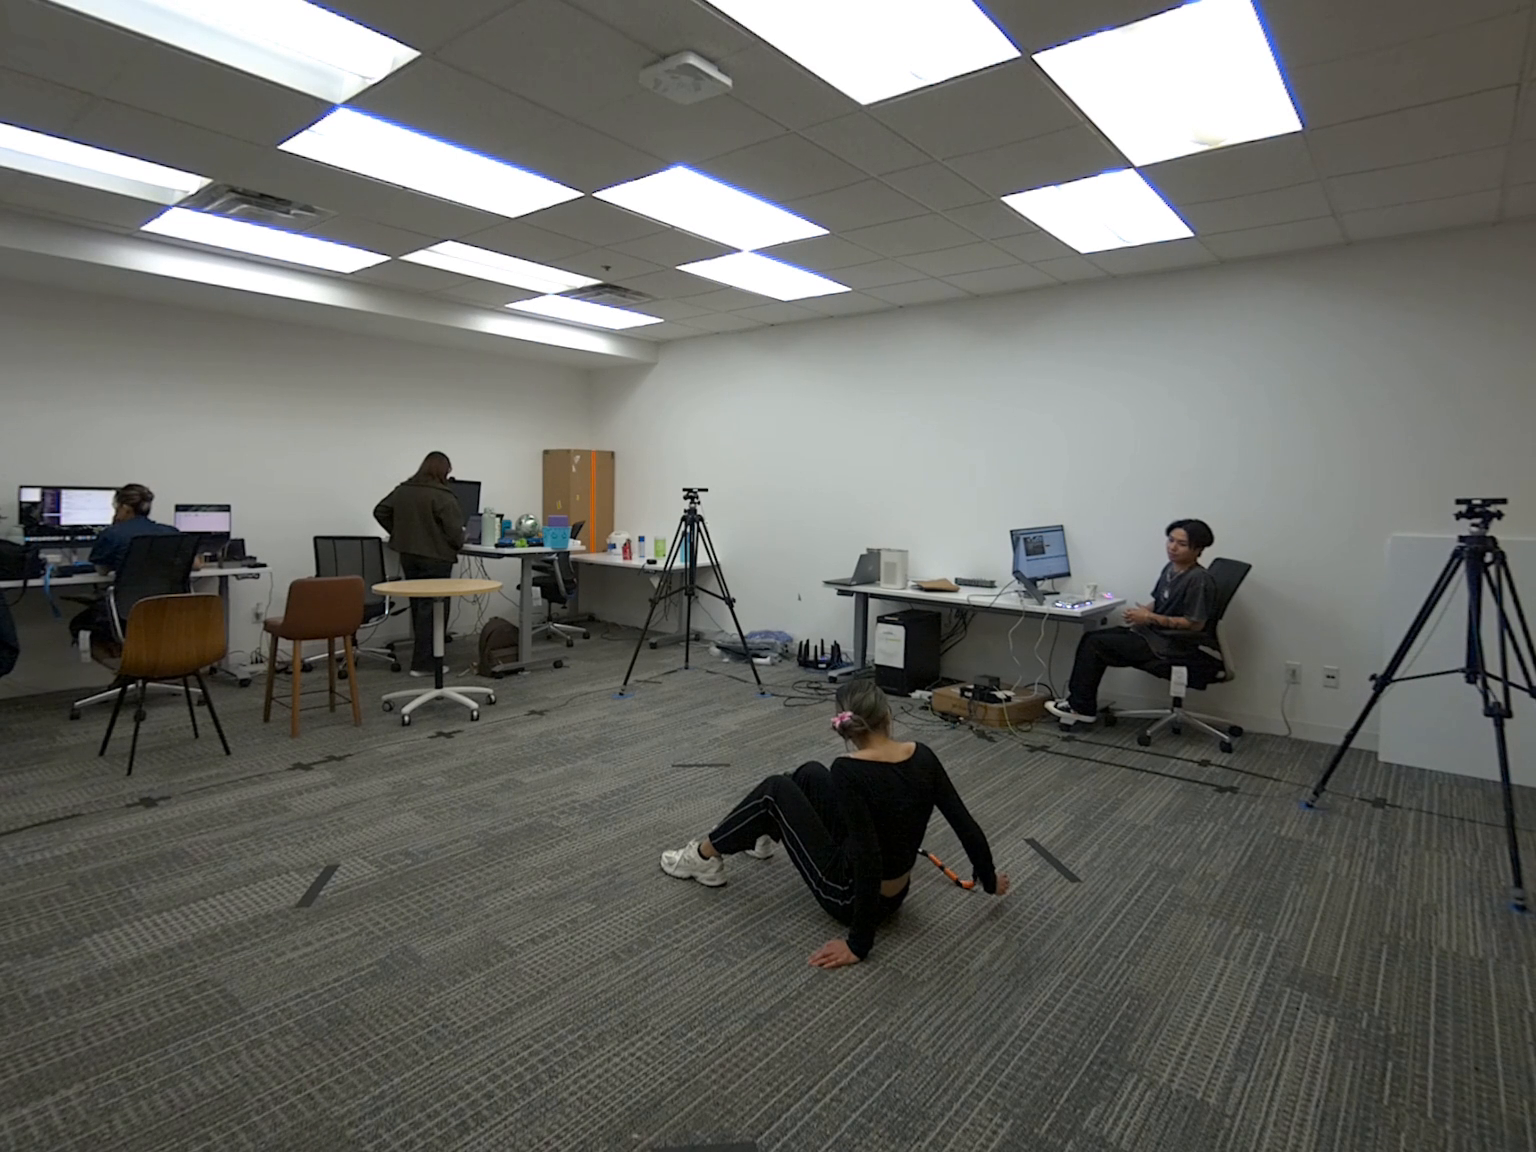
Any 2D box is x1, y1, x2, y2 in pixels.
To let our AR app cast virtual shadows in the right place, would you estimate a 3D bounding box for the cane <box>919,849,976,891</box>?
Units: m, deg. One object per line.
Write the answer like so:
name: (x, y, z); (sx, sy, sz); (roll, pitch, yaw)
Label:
cane: (0.375, 0.973, 3.261); (0.940, 0.205, 0.147); (9, 8, 41)
